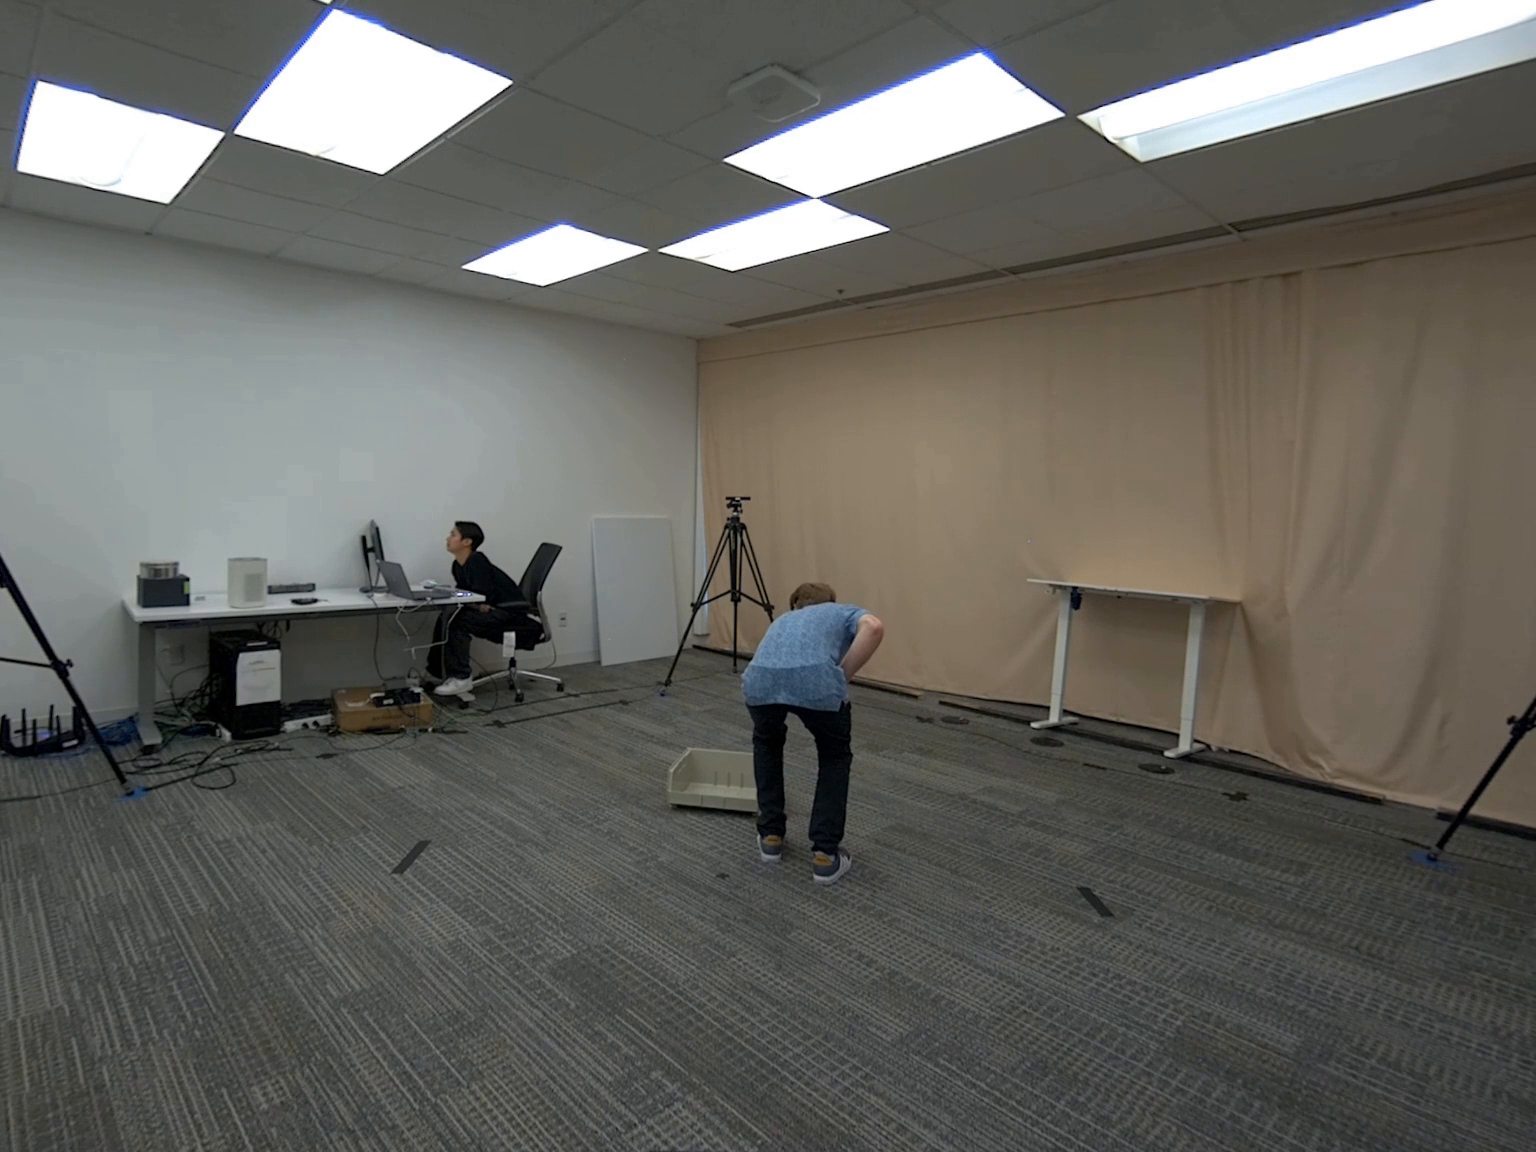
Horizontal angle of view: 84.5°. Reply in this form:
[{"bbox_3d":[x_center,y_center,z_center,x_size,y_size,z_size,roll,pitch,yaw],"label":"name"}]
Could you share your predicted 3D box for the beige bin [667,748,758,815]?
[{"bbox_3d":[-0.223,0.948,3.877,0.426,0.188,0.375,3,4,10],"label":"beige bin"}]
